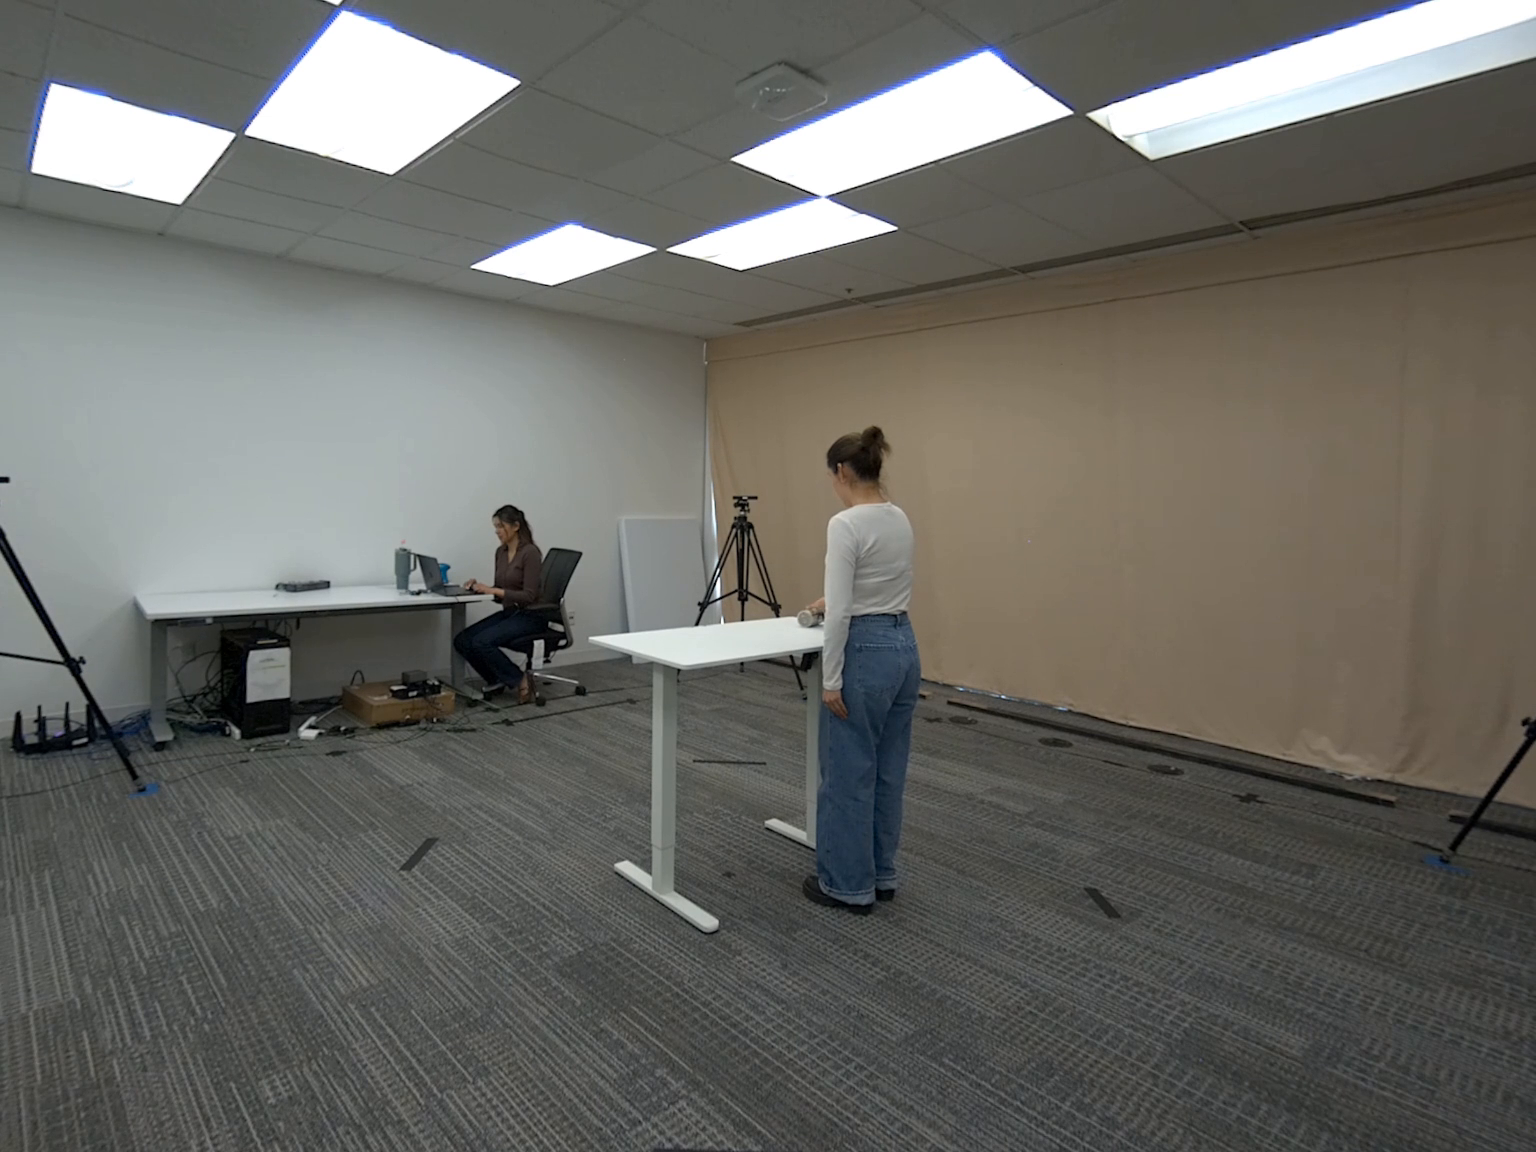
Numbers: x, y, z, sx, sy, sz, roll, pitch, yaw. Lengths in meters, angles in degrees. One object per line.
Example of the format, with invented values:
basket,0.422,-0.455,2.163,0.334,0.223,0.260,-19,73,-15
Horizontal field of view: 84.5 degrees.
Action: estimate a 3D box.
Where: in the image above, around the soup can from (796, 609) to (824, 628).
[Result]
soup can,0.158,0.167,3.361,0.068,0.067,0.120,2,3,12
